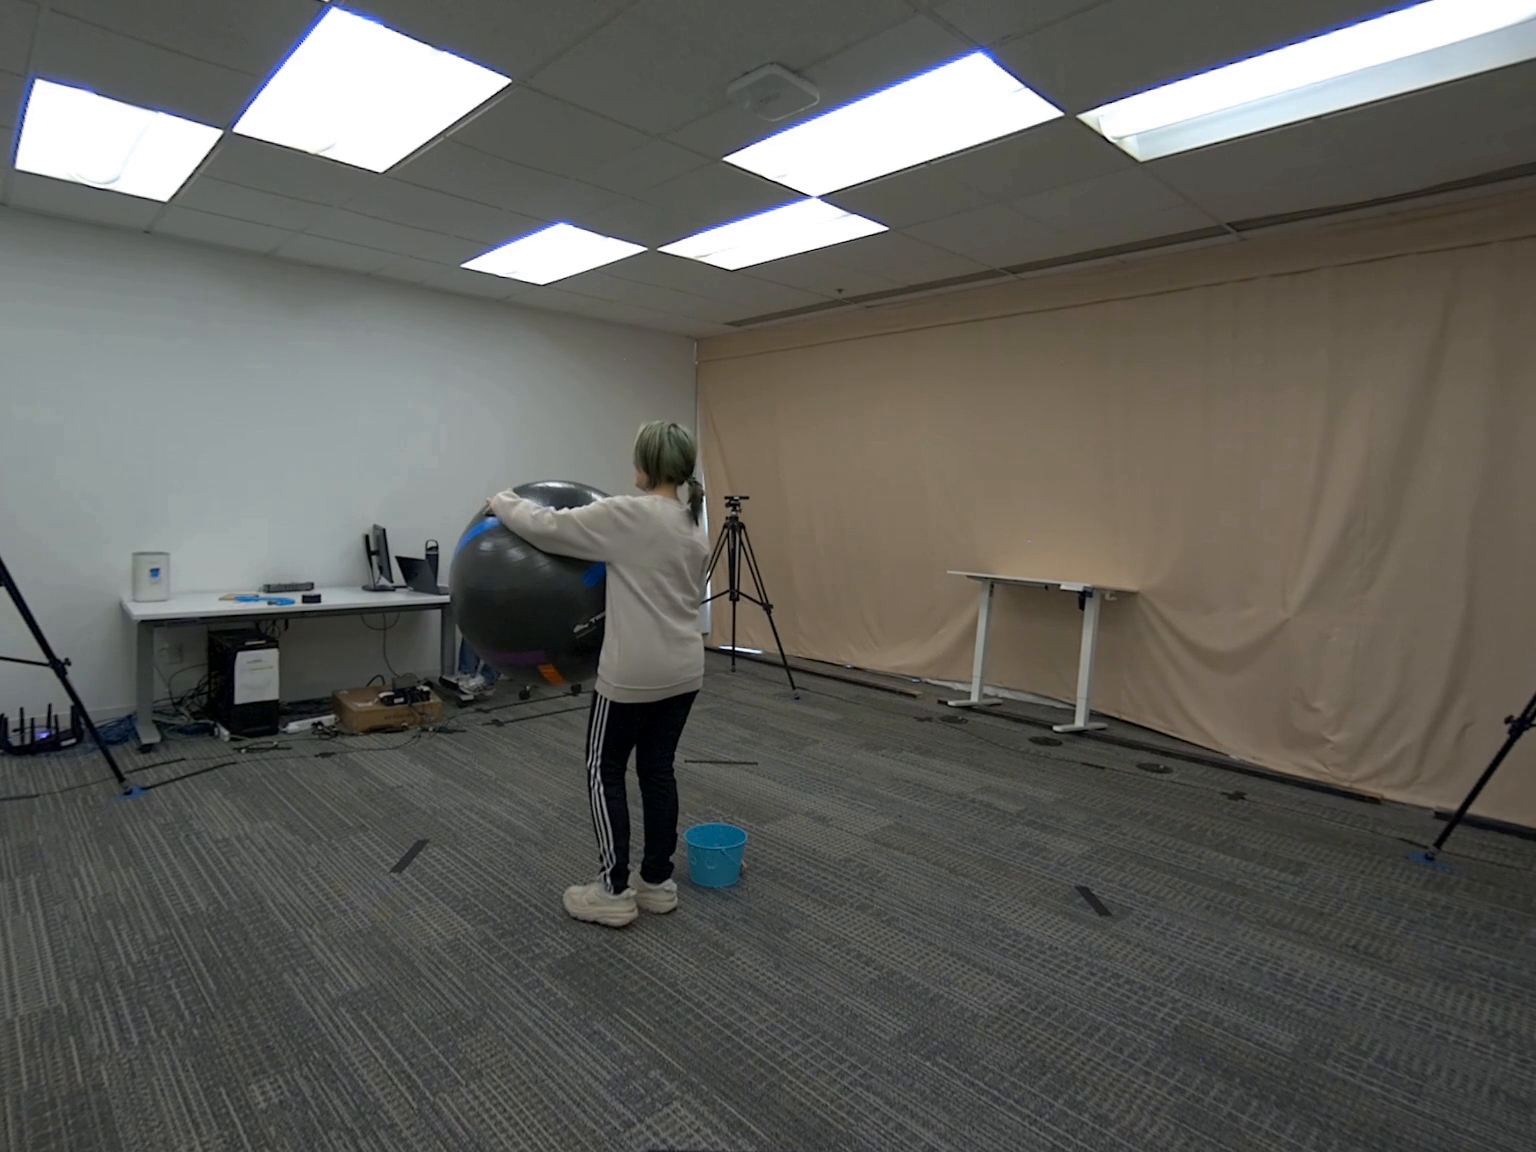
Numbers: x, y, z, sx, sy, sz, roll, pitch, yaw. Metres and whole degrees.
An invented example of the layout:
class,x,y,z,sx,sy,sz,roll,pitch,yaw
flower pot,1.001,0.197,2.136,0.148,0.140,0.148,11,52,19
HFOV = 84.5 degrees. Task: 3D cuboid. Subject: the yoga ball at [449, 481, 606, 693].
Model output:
class,x,y,z,sx,sy,sz,roll,pitch,yaw
yoga ball,-0.807,0.036,3.120,0.757,0.756,0.761,1,4,-1
